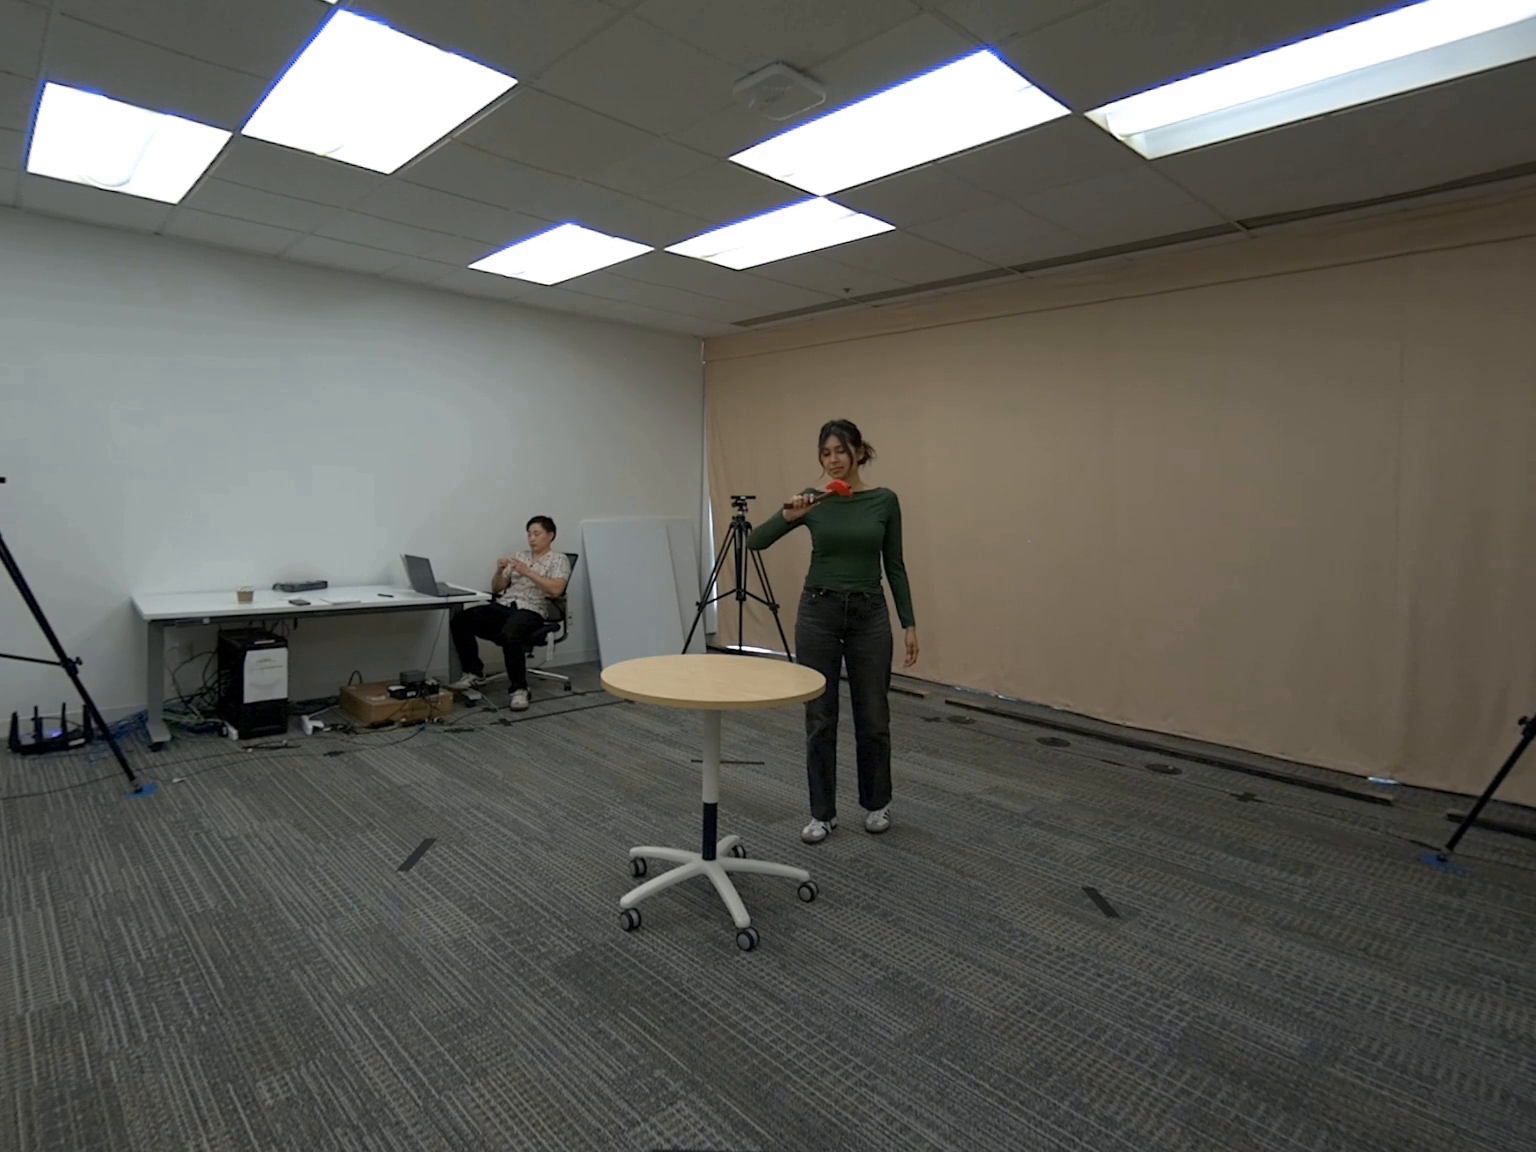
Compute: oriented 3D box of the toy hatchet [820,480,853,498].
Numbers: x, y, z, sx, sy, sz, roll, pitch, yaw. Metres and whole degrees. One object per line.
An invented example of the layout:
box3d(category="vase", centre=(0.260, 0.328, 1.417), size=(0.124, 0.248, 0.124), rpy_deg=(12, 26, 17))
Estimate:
box3d(category="toy hatchet", centre=(0.158, -0.306, 3.143), size=(0.272, 0.030, 0.127), rpy_deg=(-12, -25, 10))
